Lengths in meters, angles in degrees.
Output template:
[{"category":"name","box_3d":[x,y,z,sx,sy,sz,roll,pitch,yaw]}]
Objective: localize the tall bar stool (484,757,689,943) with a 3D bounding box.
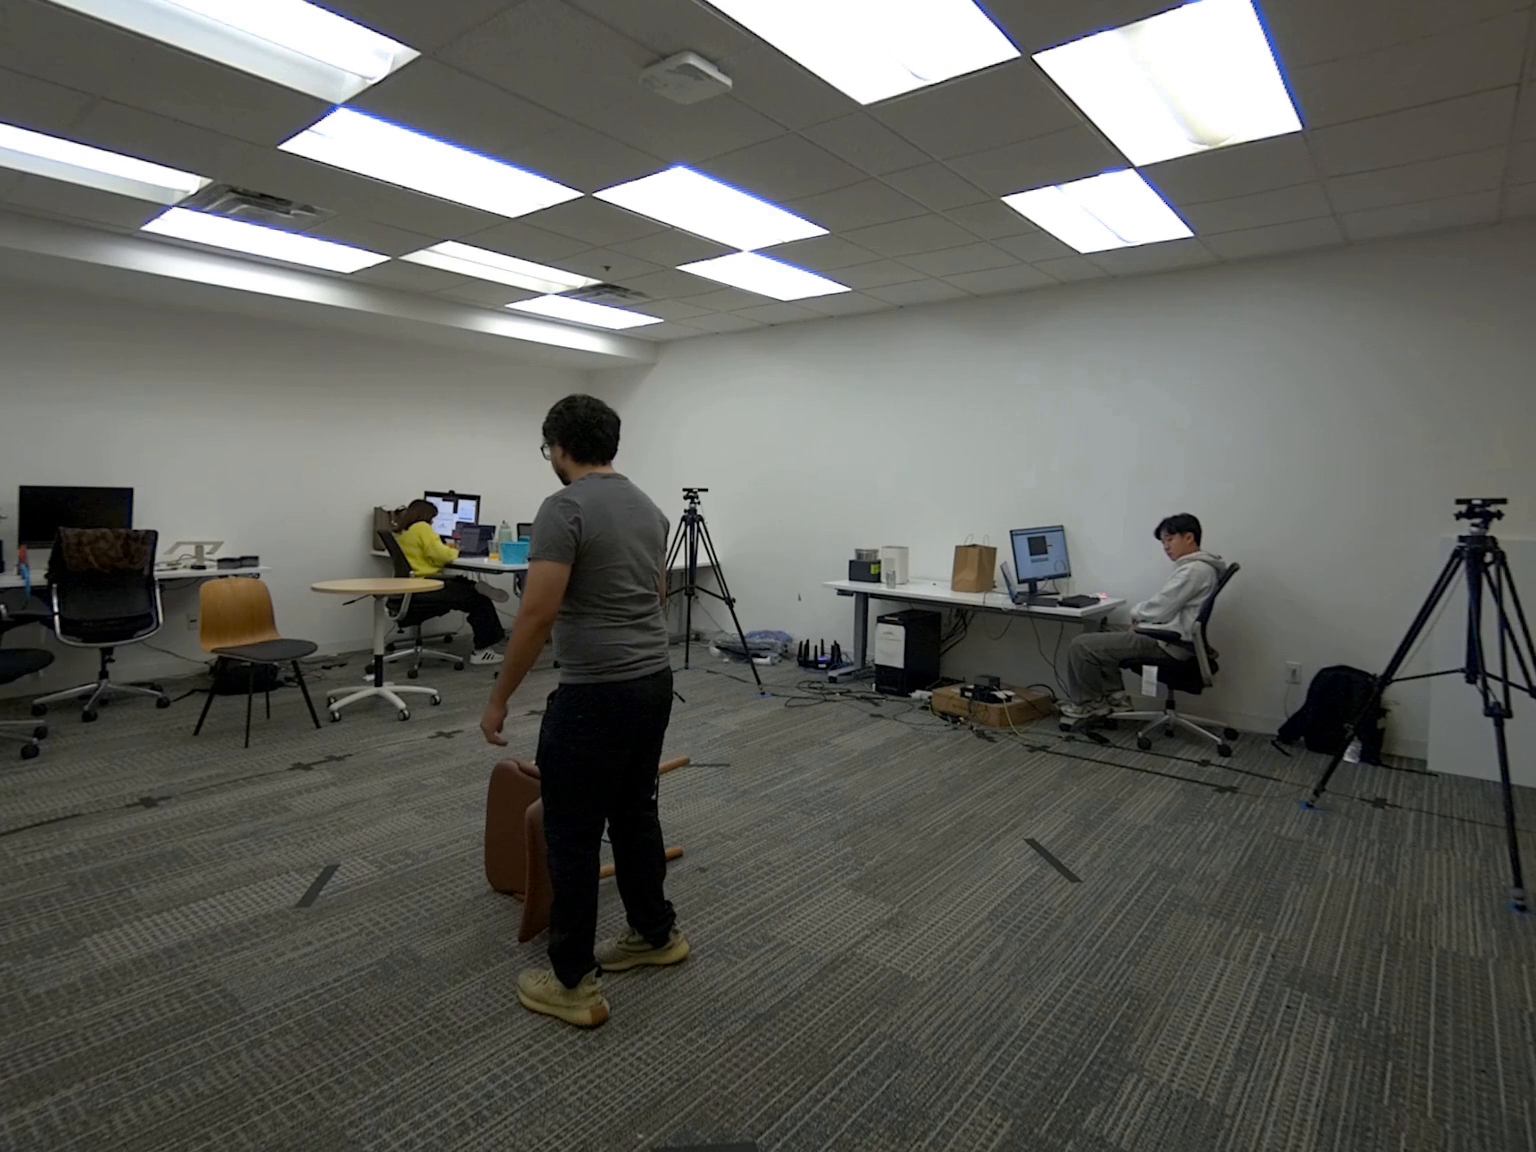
[{"category":"tall bar stool","box_3d":[-0.709,0.863,2.965,0.481,0.455,0.867,6,4,27]}]
